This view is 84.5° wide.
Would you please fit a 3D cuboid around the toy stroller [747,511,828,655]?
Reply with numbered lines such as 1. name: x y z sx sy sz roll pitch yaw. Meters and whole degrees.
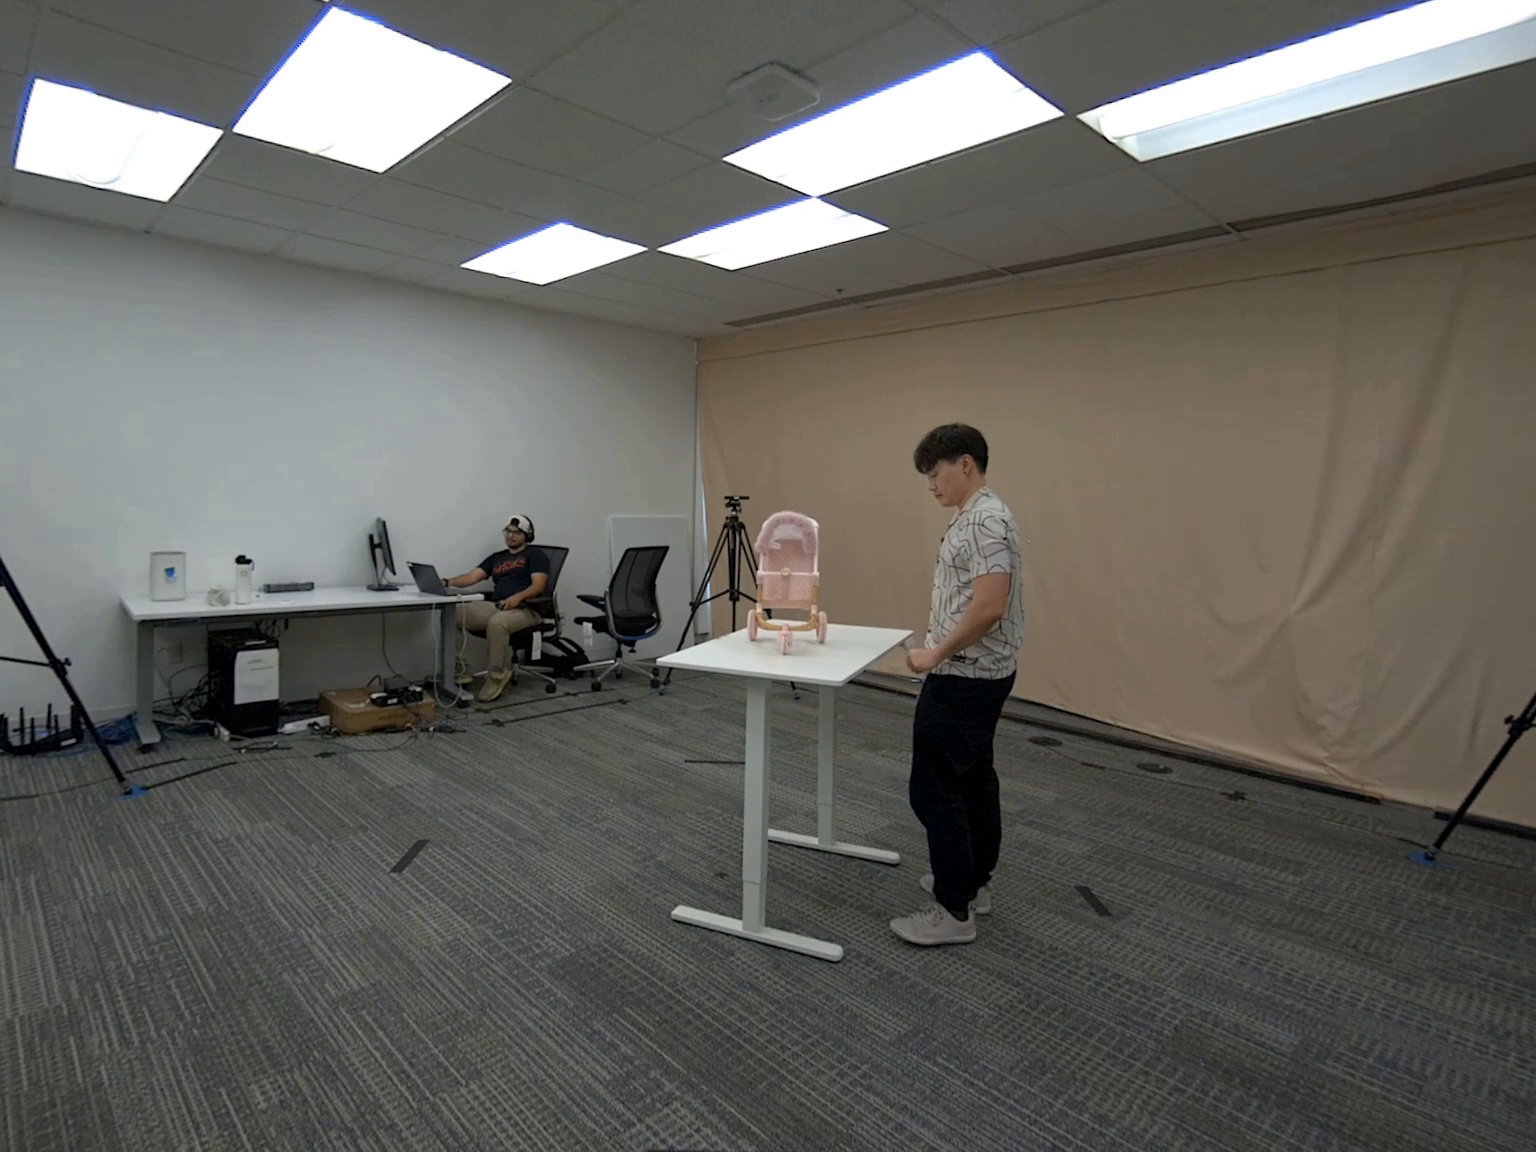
1. toy stroller: 0.051 0.013 2.936 0.283 0.539 0.336 1 -12 8
